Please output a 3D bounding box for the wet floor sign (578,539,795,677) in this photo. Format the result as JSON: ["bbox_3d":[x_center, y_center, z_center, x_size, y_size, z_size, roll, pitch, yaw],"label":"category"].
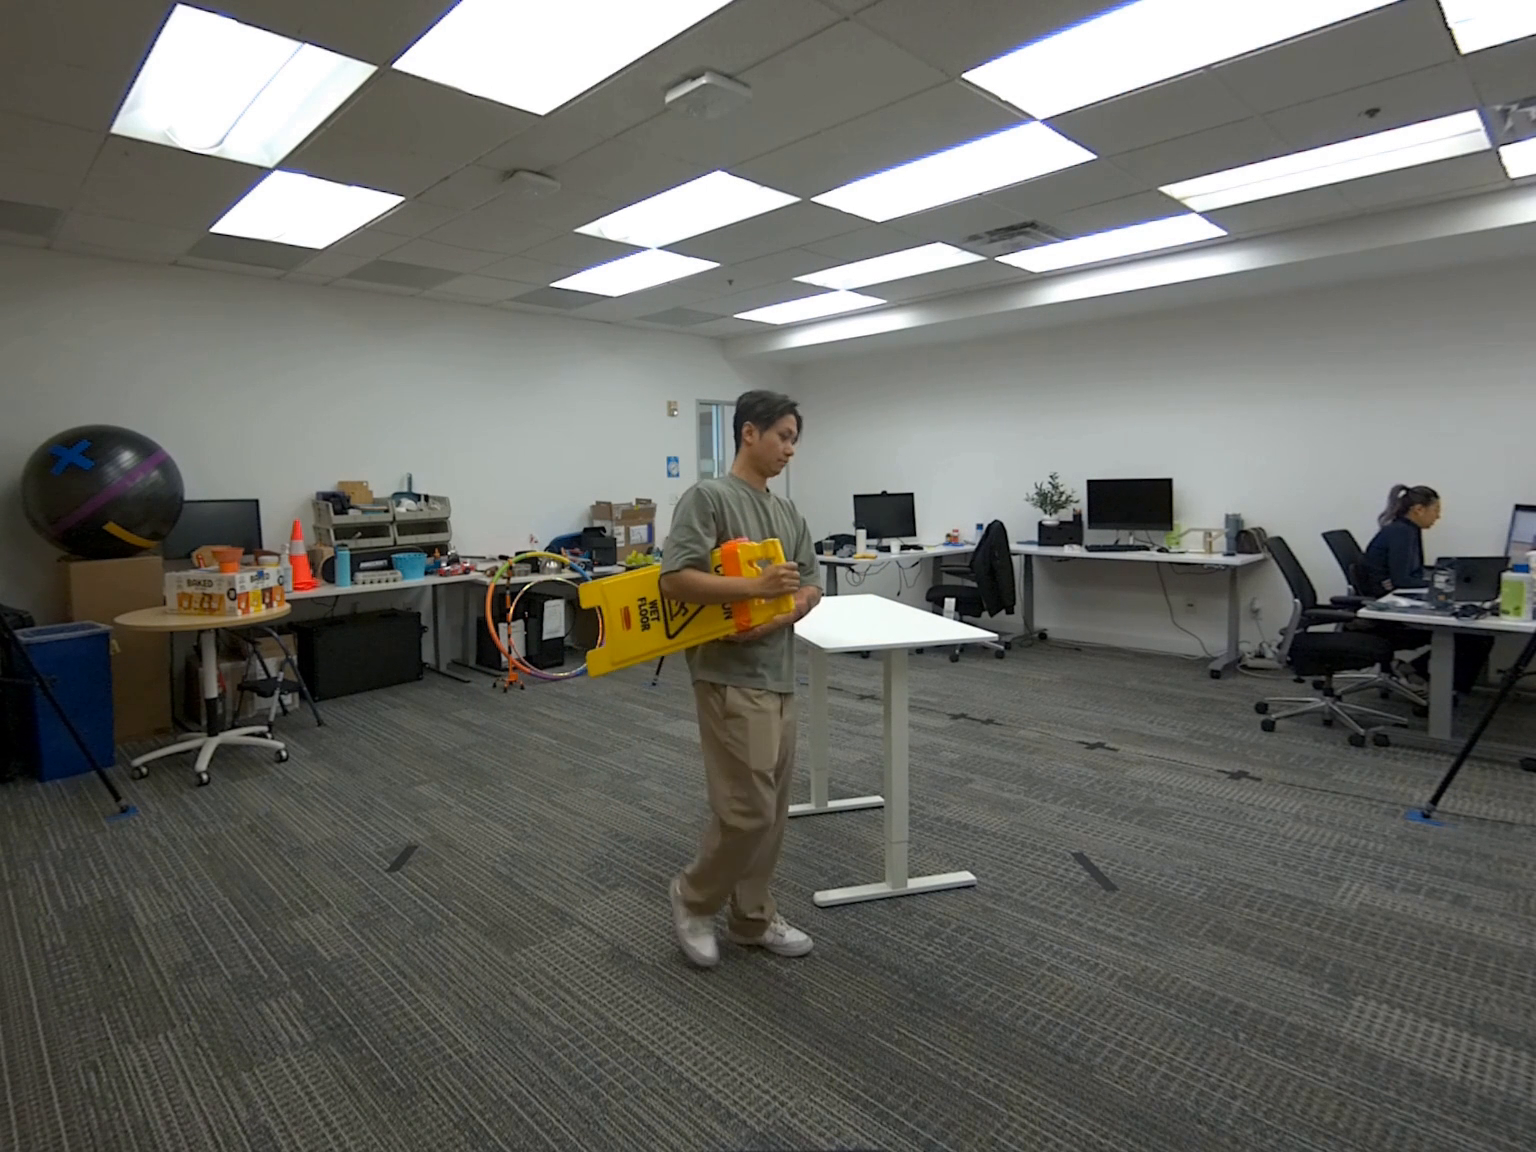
[{"bbox_3d":[-0.215,0.083,2.403,0.657,0.286,0.281,-18,-12,34],"label":"wet floor sign"}]
